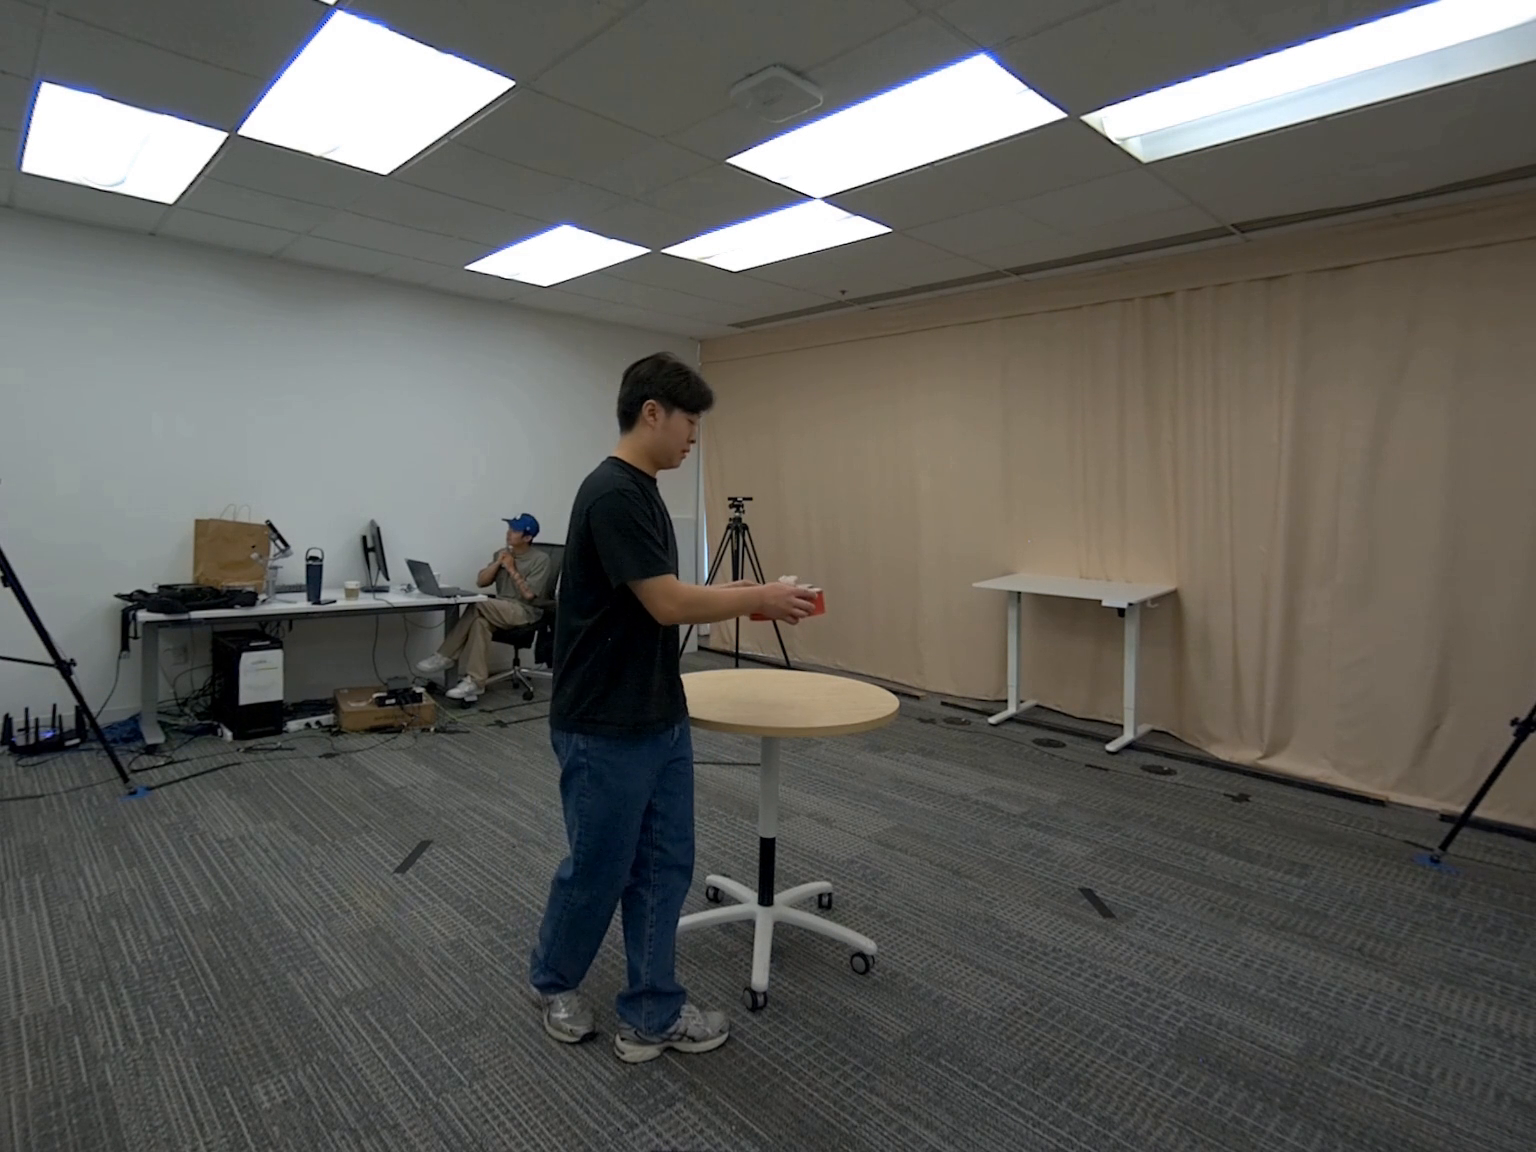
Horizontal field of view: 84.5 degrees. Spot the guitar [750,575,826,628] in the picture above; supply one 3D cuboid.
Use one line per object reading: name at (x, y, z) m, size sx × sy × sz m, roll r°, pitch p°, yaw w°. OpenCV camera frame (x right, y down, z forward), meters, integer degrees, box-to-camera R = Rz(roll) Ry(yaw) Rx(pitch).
guitar at (0.044, 0.056, 2.297) m, size 0.194 × 0.070 × 0.495 m, roll -3°, pitch 5°, yaw 10°
